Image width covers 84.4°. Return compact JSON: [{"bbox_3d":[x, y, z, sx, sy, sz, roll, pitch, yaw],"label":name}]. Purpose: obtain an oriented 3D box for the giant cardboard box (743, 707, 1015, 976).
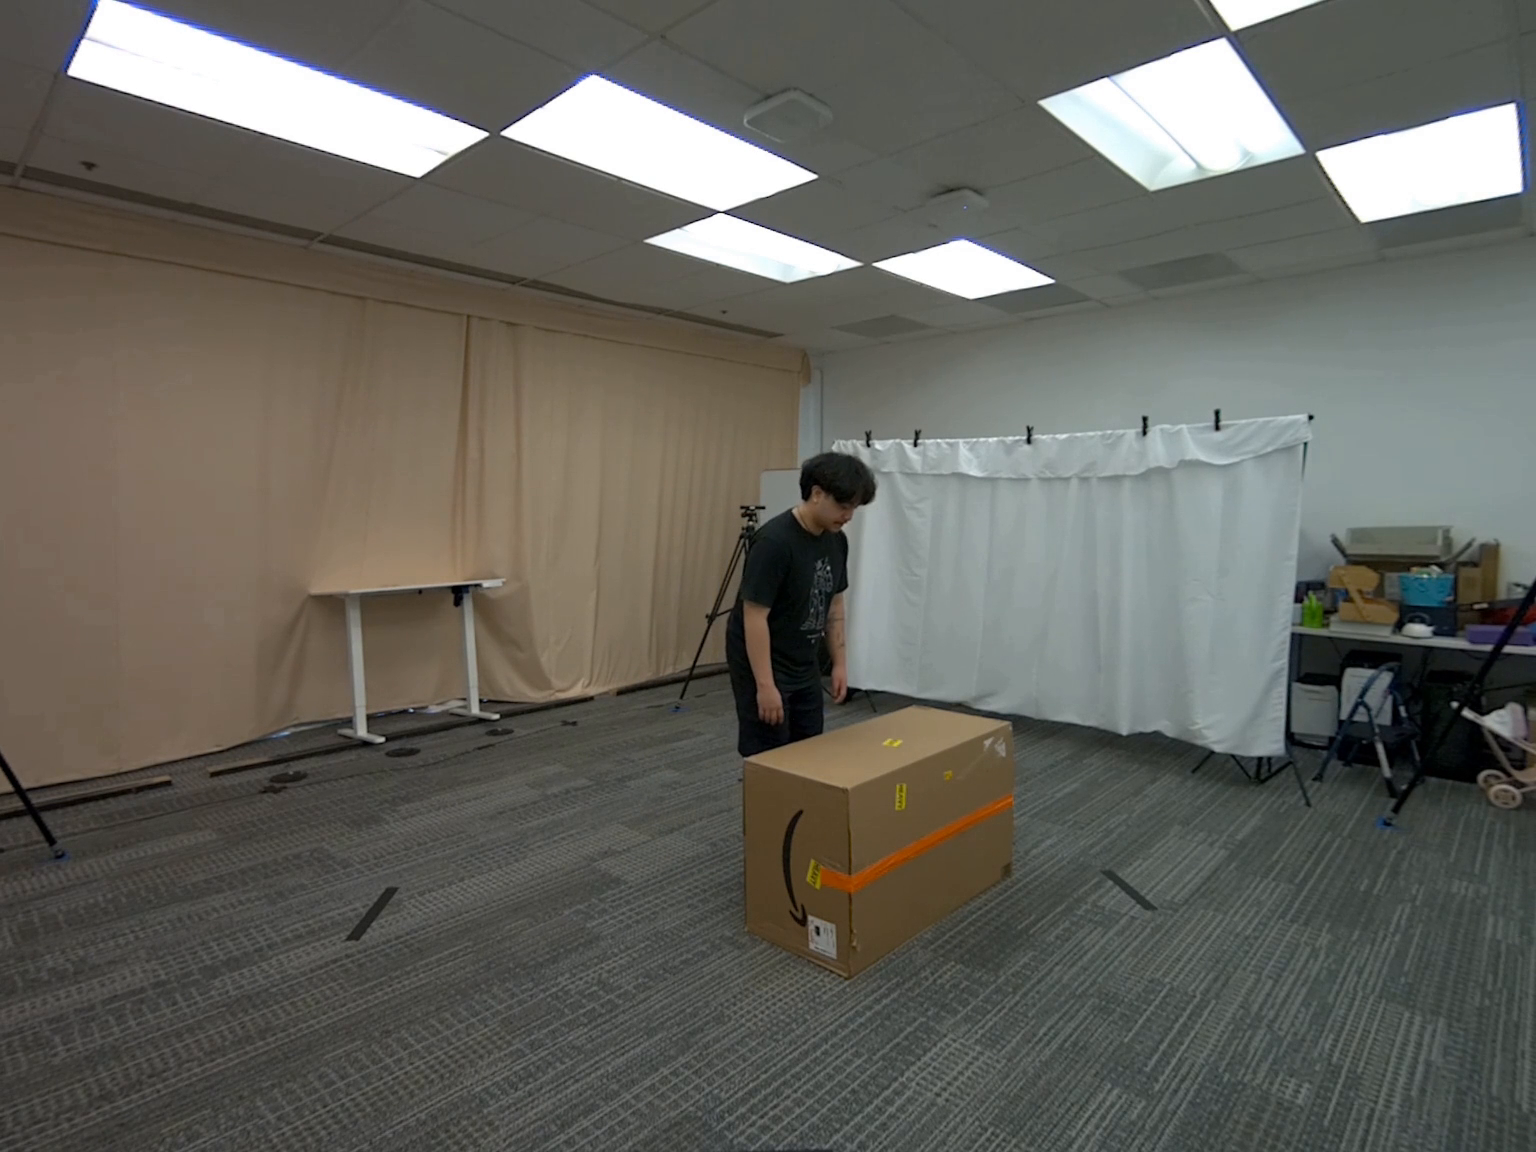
[{"bbox_3d":[0.428,0.860,2.953,0.462,0.582,0.996,4,7,43],"label":"giant cardboard box"}]
